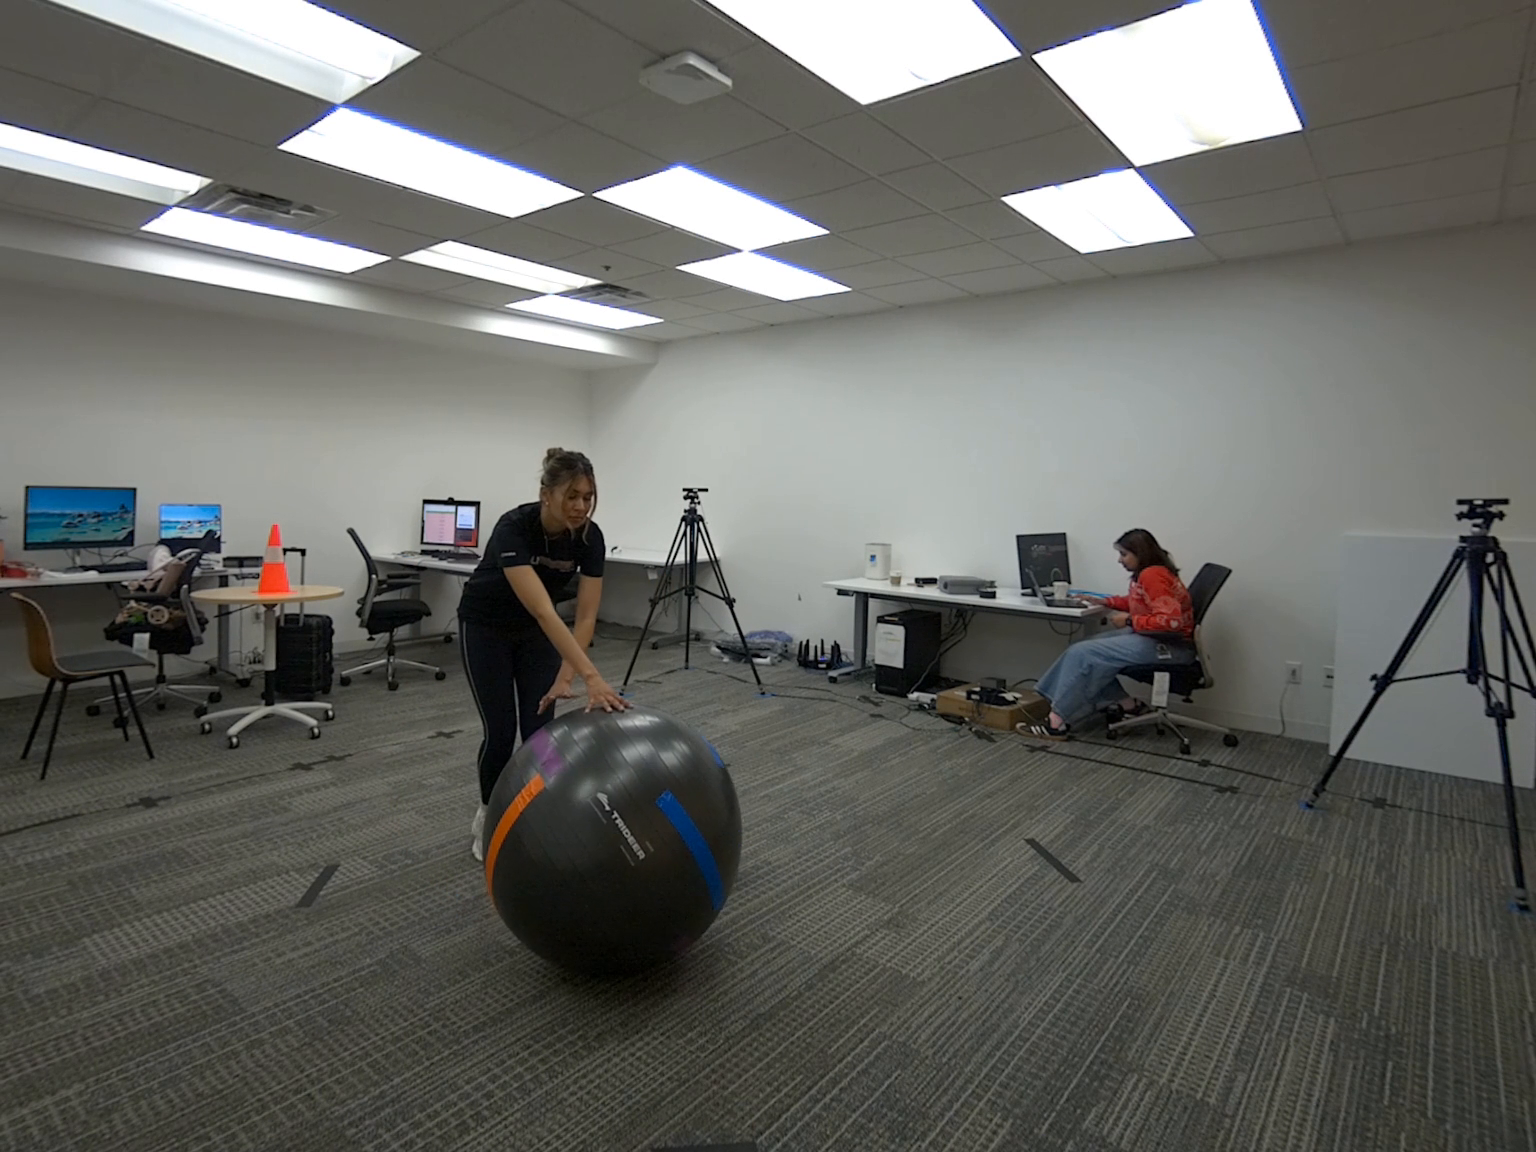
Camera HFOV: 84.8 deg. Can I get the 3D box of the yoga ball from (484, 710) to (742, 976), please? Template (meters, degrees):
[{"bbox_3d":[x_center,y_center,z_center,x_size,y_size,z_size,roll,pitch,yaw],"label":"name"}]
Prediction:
[{"bbox_3d":[-0.466,0.758,2.512,0.757,0.755,0.762,1,4,-2],"label":"yoga ball"}]
